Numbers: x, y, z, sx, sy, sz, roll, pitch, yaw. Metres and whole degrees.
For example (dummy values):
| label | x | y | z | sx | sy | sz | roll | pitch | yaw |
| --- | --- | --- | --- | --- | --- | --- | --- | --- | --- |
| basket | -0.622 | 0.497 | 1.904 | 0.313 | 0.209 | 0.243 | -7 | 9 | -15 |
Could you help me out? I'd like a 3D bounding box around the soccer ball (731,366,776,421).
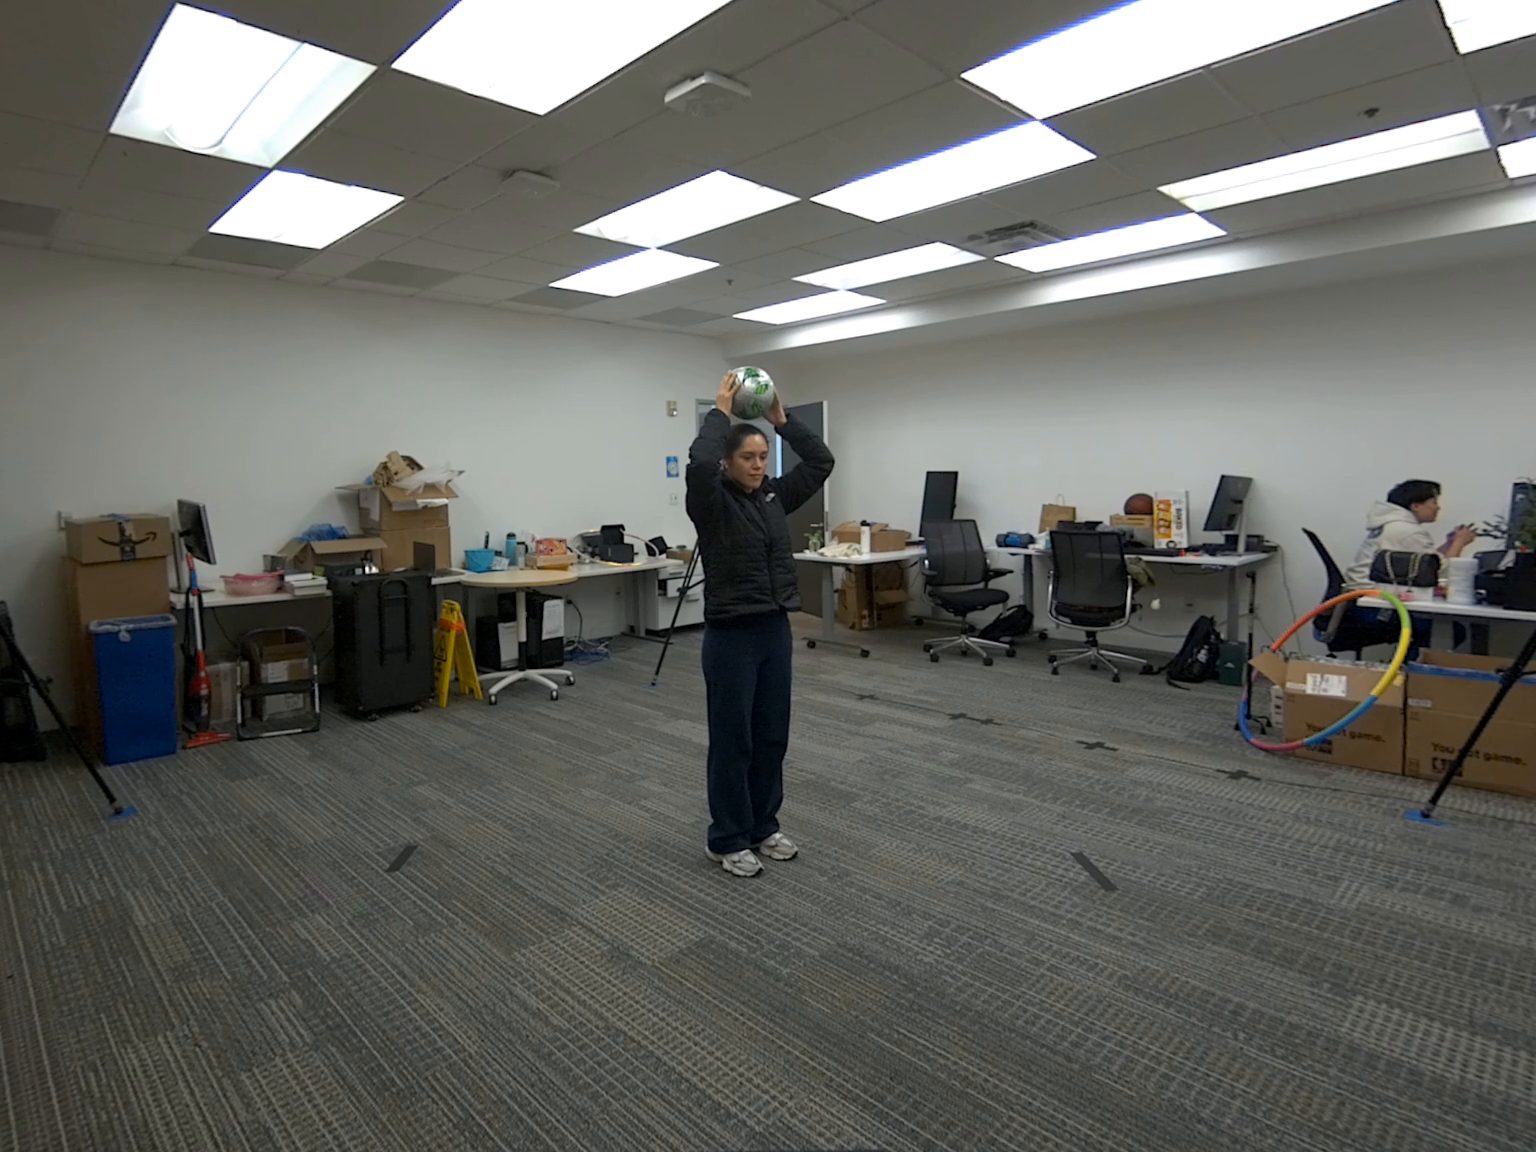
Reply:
| label | x | y | z | sx | sy | sz | roll | pitch | yaw |
| --- | --- | --- | --- | --- | --- | --- | --- | --- | --- |
| soccer ball | -0.069 | -0.647 | 3.036 | 0.187 | 0.187 | 0.188 | -1 | 5 | -2 |
